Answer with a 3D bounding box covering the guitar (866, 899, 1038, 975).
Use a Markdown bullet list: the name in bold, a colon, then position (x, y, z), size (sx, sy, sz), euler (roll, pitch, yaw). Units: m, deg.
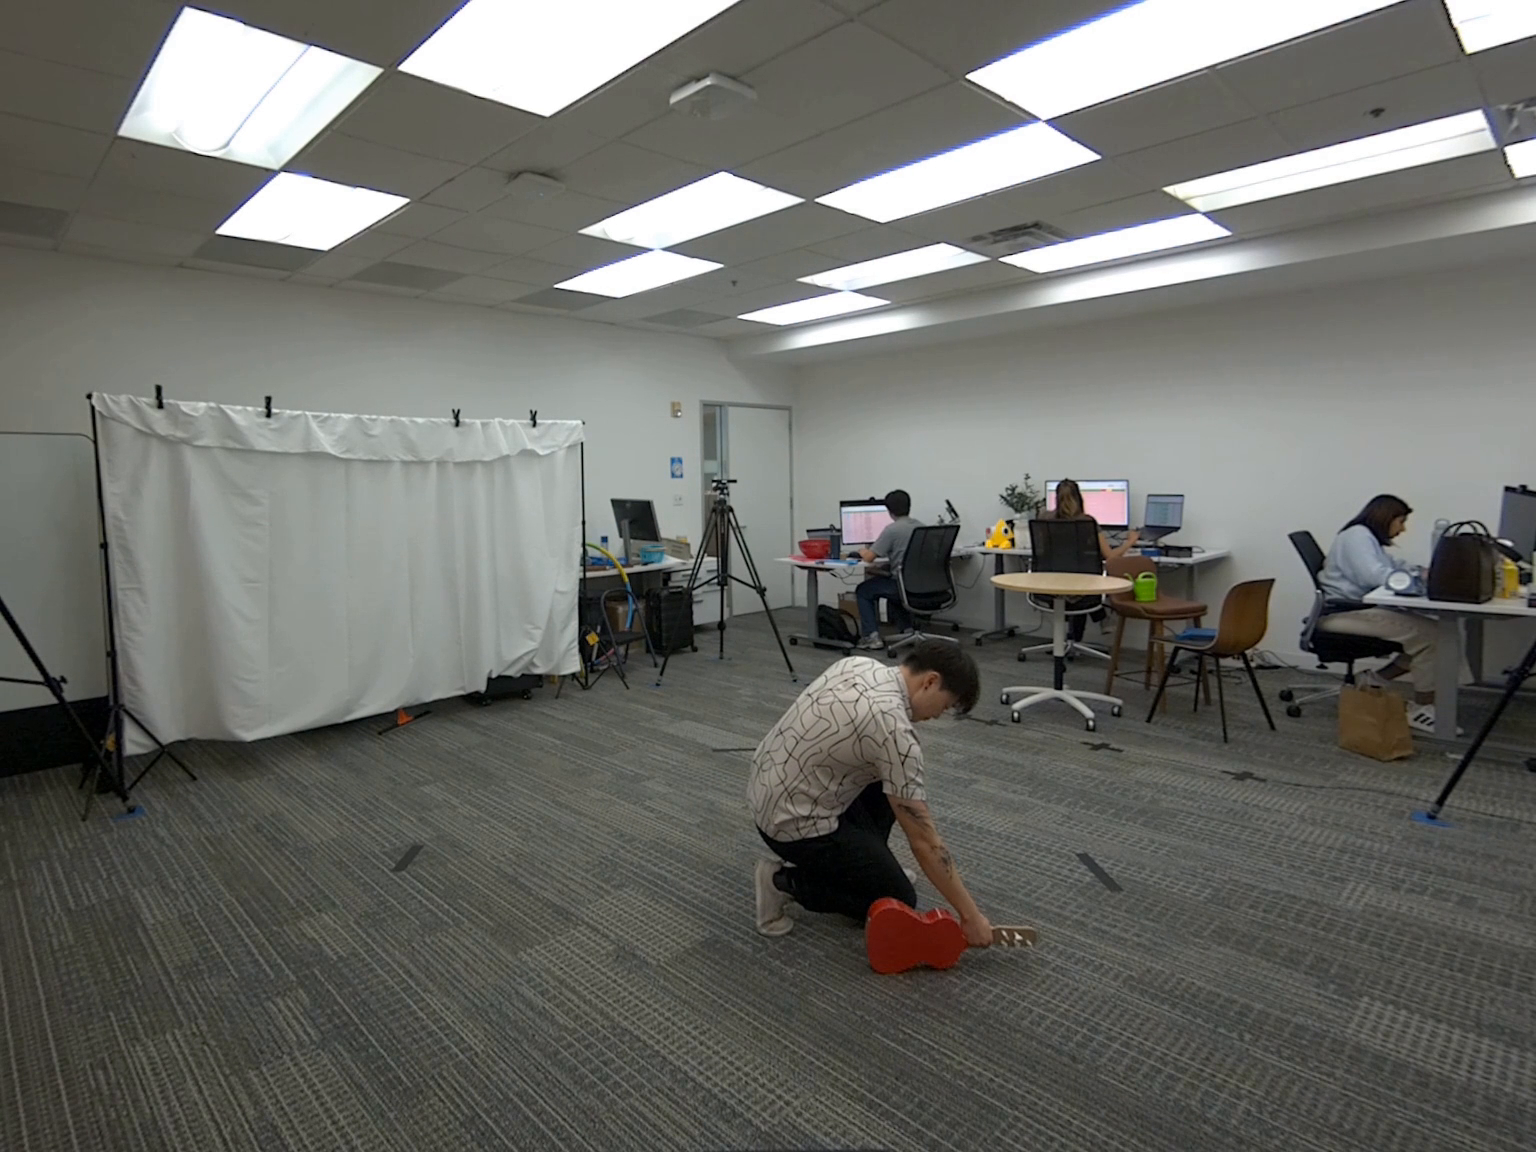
- **guitar**: position (0.536, 1.016, 2.432), size (0.497, 0.192, 0.071), euler (-4, 4, -1)
